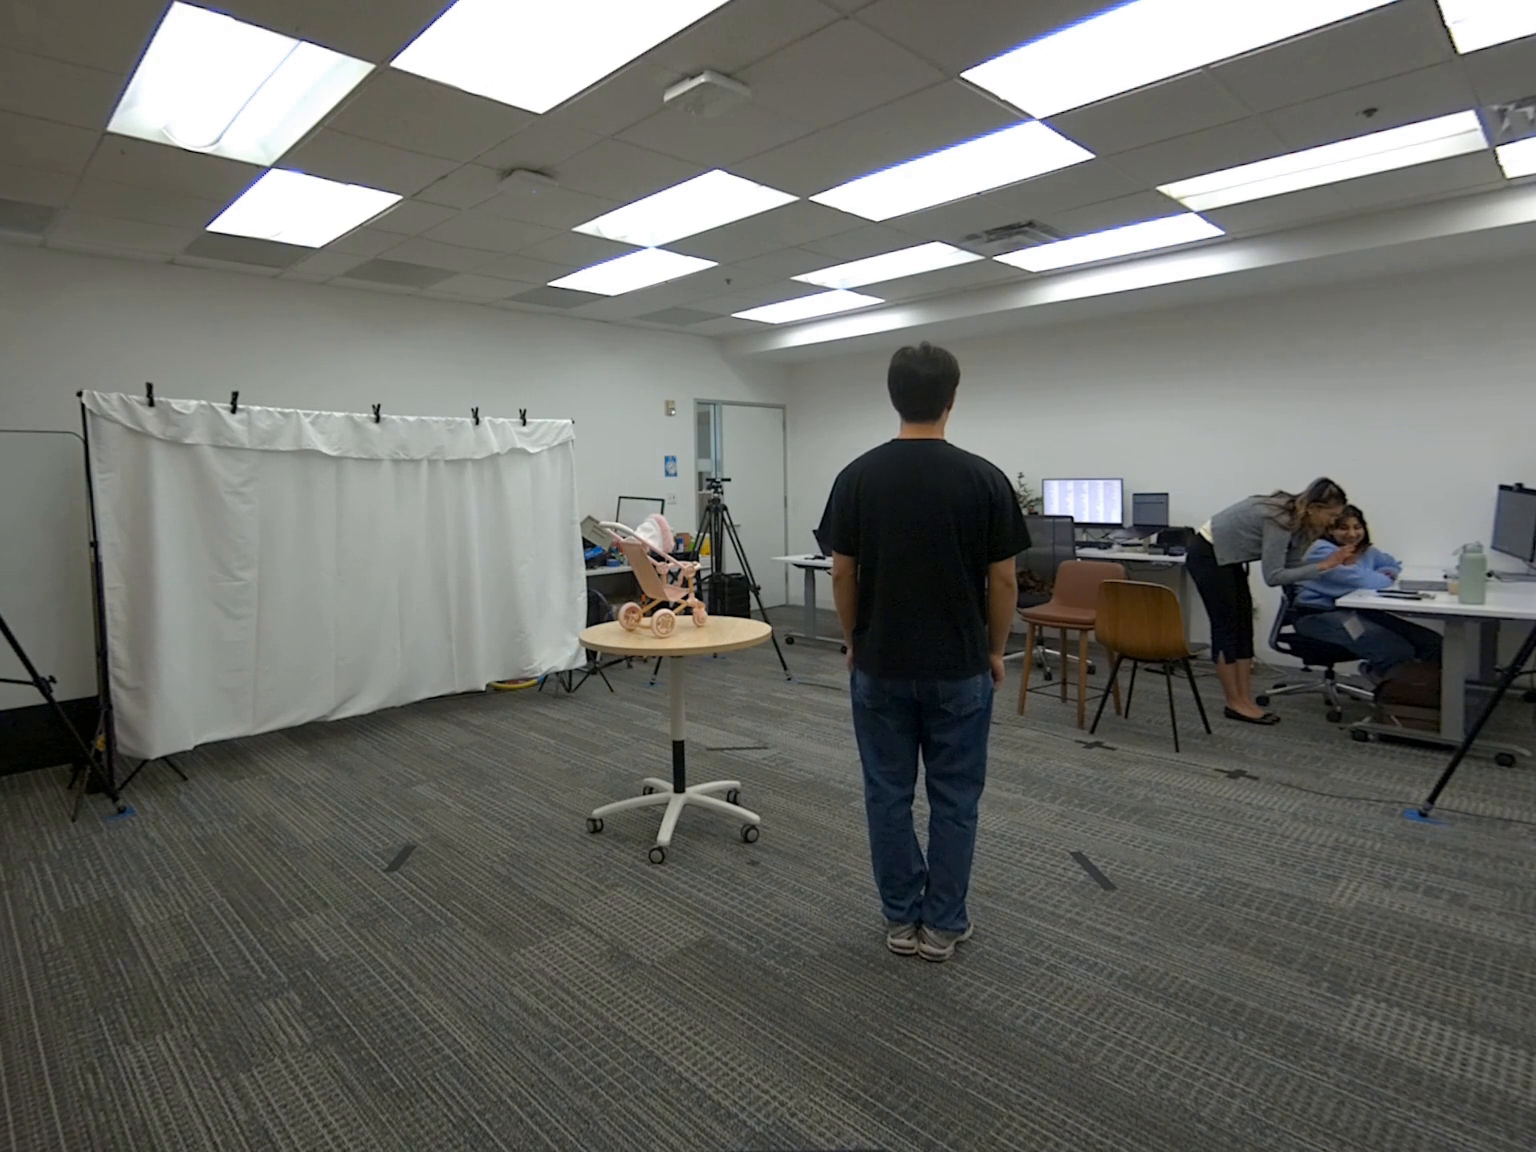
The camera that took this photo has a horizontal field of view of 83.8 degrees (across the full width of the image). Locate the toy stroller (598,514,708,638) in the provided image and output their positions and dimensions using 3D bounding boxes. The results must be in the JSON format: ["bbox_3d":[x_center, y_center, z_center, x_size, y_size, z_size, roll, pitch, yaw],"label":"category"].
[{"bbox_3d":[-0.422,-0.002,3.366,0.336,0.529,0.289,-19,13,-31],"label":"toy stroller"}]
